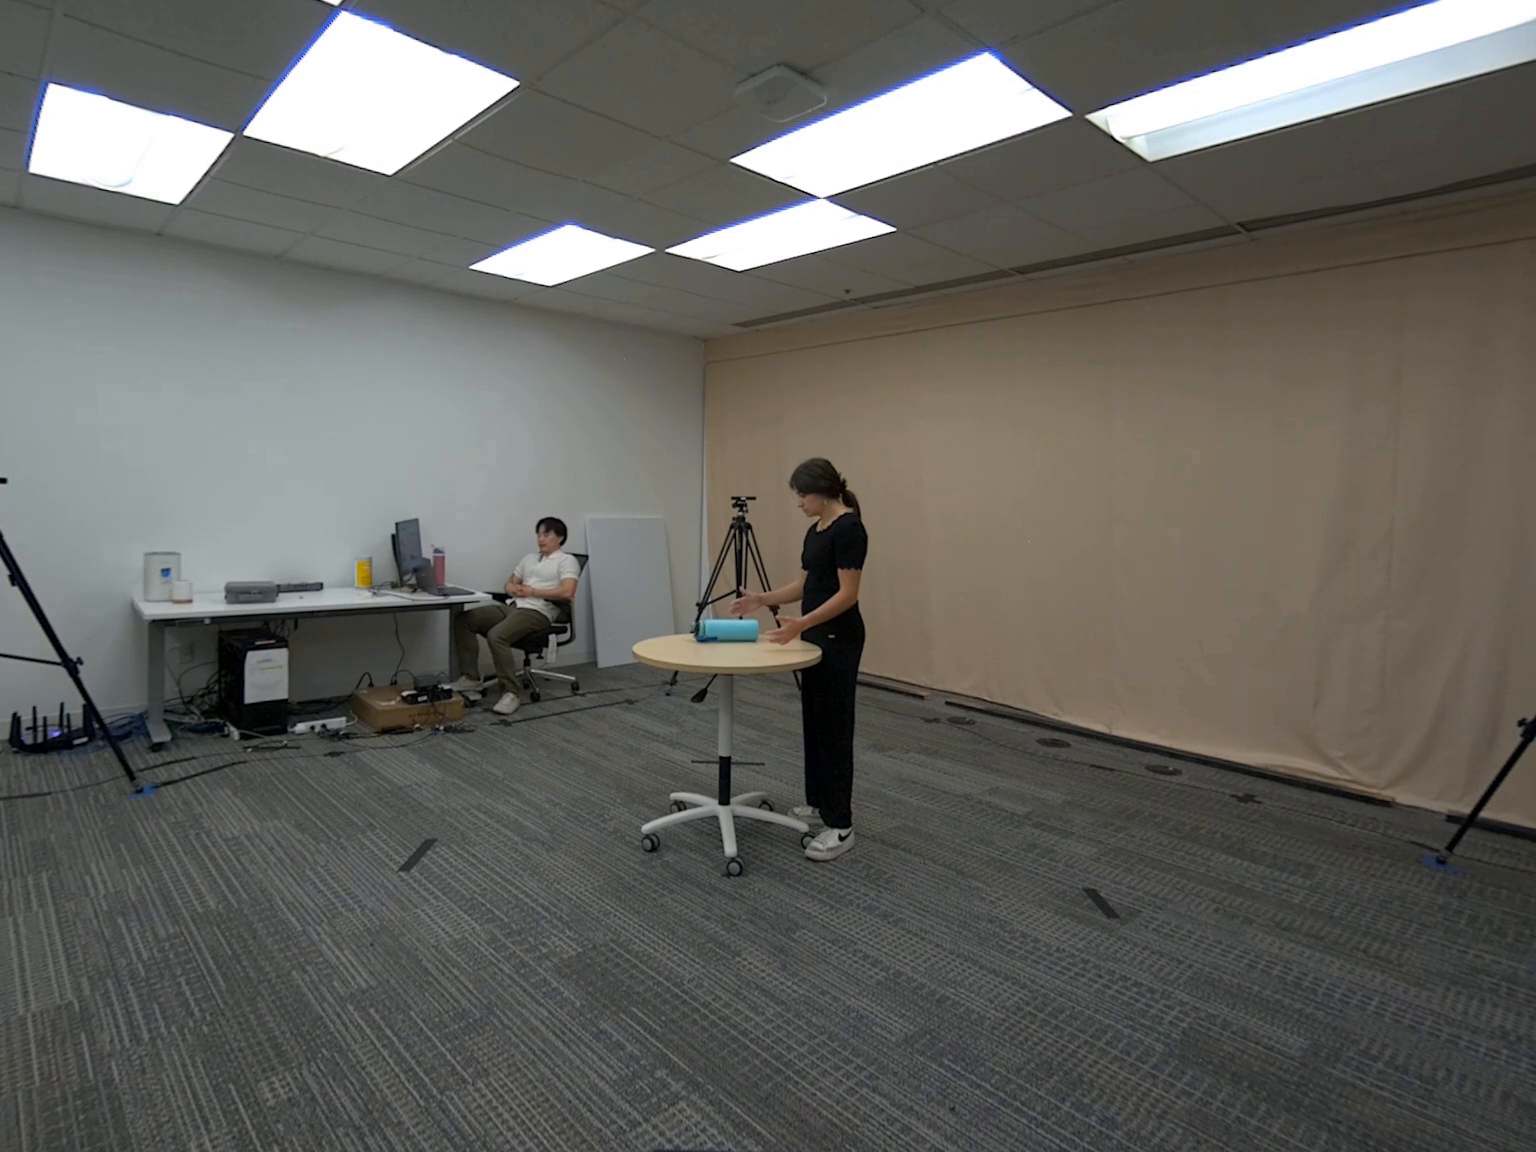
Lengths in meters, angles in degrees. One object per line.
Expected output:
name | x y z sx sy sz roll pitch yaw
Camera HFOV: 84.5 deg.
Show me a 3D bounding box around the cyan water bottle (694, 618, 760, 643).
cyan water bottle | -0.191 0.233 3.568 0.281 0.092 0.093 2 4 -10
